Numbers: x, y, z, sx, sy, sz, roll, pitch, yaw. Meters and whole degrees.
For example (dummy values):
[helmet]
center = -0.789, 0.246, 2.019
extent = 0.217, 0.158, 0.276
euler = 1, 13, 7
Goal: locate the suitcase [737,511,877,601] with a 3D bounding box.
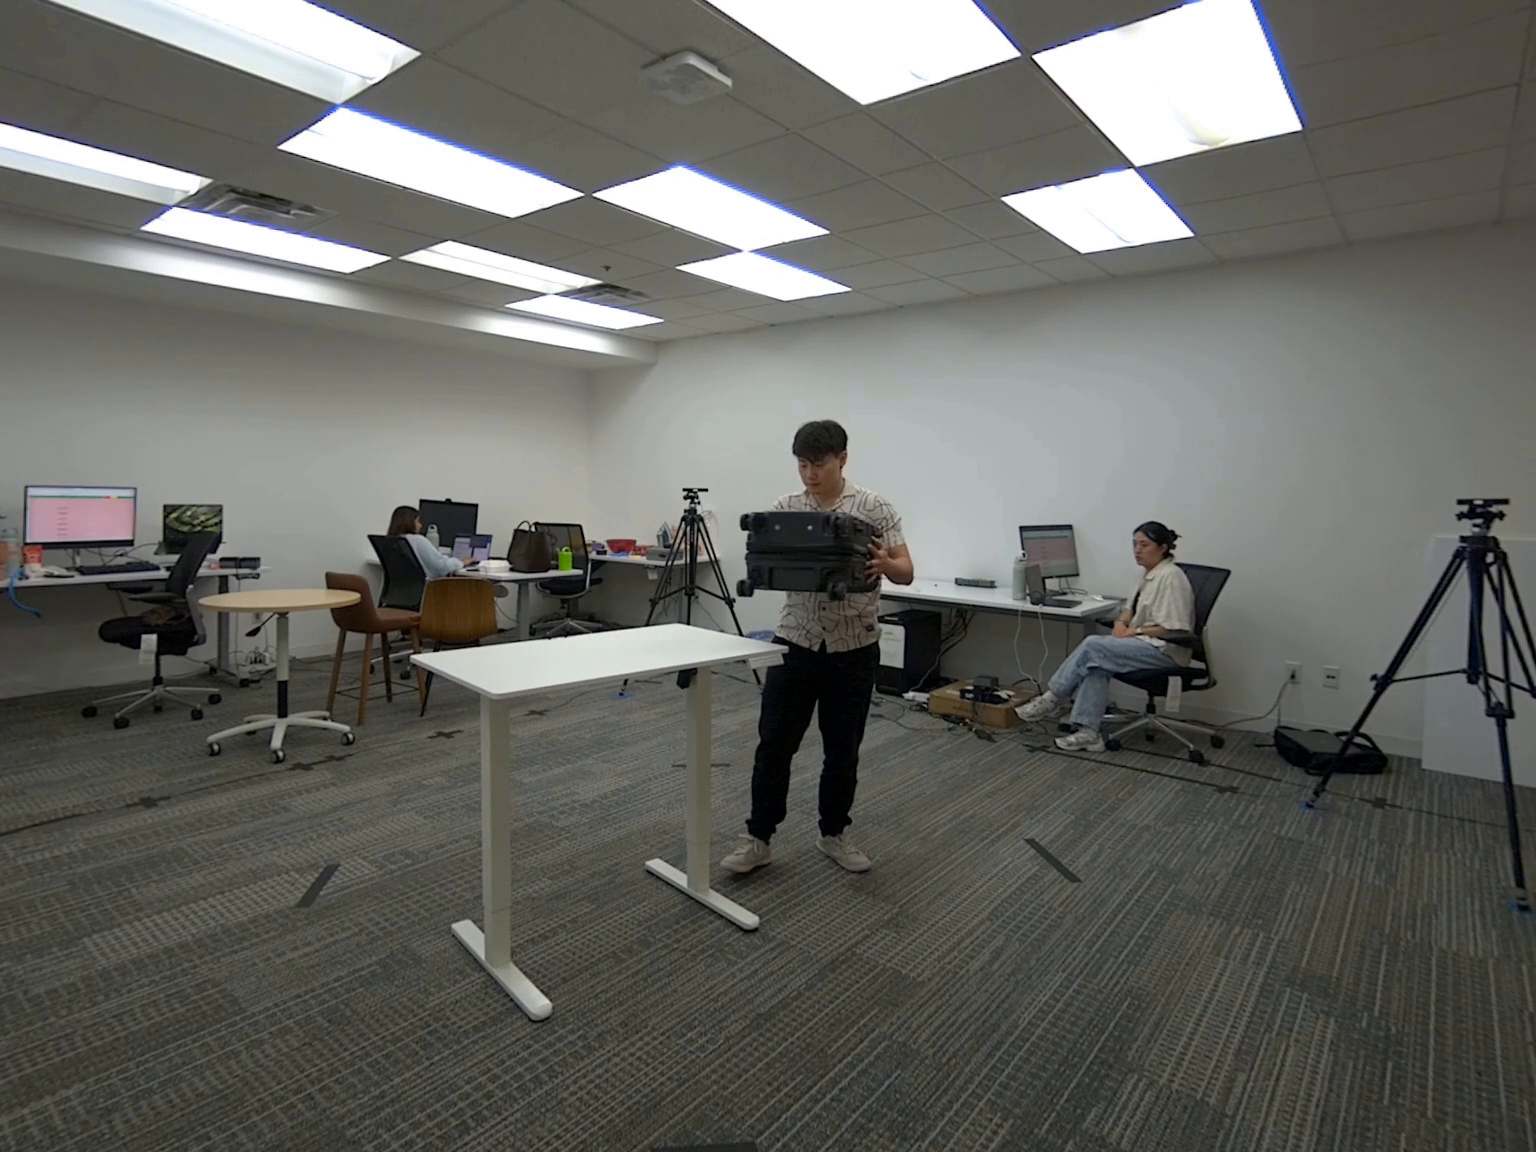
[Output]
[suitcase]
center = 0.151, -0.076, 2.830
extent = 0.384, 0.248, 0.536
euler = 2, 0, 22
